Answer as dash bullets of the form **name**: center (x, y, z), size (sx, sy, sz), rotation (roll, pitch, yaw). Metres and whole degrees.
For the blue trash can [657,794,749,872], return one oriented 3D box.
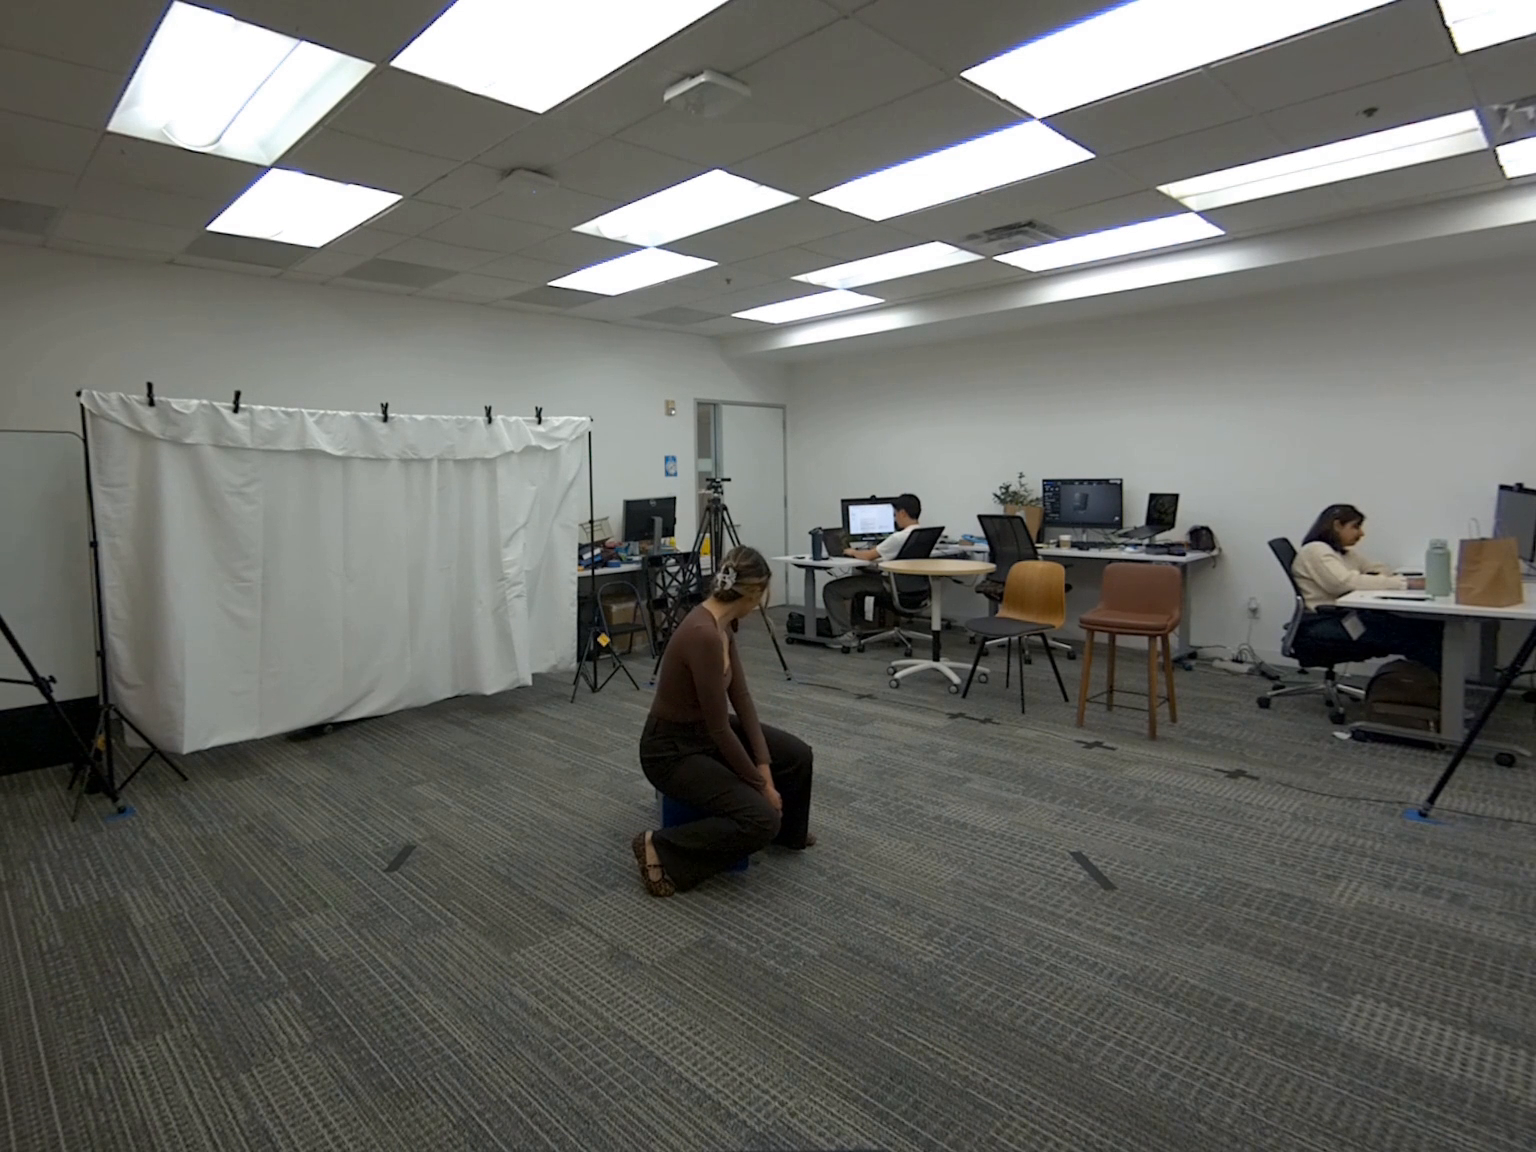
- **blue trash can**: center (-0.253, 0.848, 3.378), size (0.372, 0.375, 0.723), rotation (-2, 9, -8)
